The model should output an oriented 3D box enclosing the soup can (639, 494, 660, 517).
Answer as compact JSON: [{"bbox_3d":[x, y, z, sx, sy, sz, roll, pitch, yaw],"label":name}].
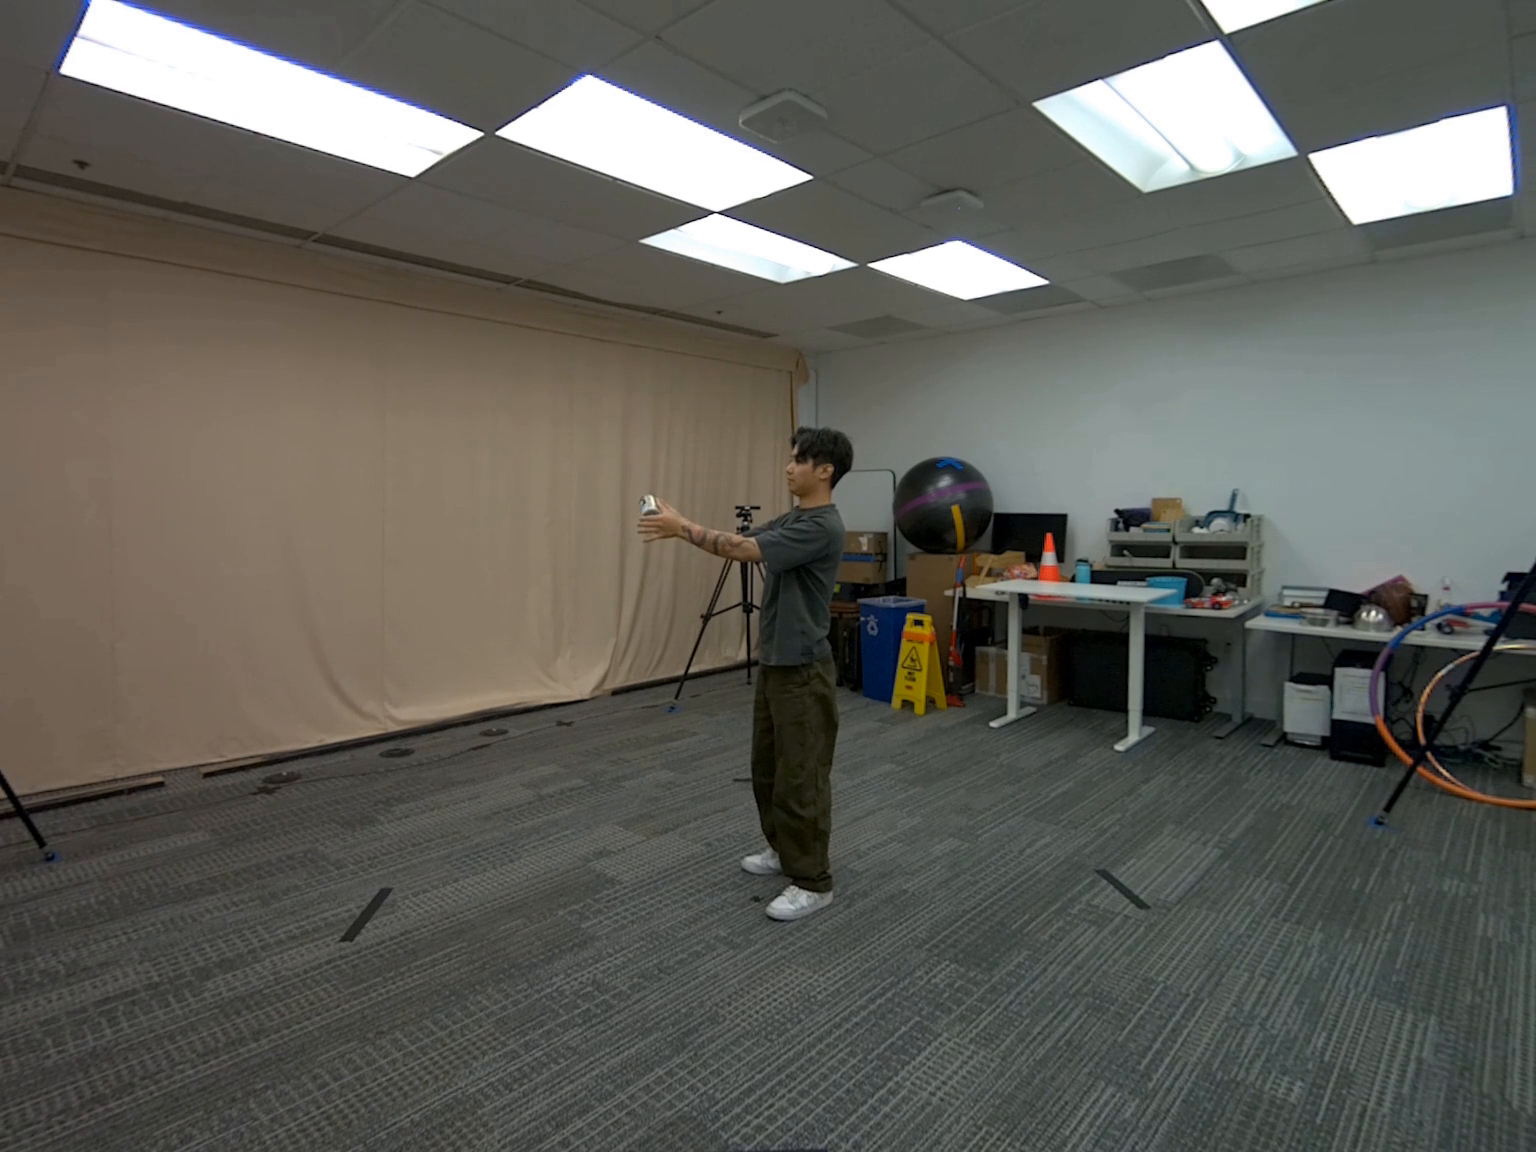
[{"bbox_3d":[-0.415,-0.232,2.948,0.066,0.066,0.124,-1,28,-10],"label":"soup can"}]
